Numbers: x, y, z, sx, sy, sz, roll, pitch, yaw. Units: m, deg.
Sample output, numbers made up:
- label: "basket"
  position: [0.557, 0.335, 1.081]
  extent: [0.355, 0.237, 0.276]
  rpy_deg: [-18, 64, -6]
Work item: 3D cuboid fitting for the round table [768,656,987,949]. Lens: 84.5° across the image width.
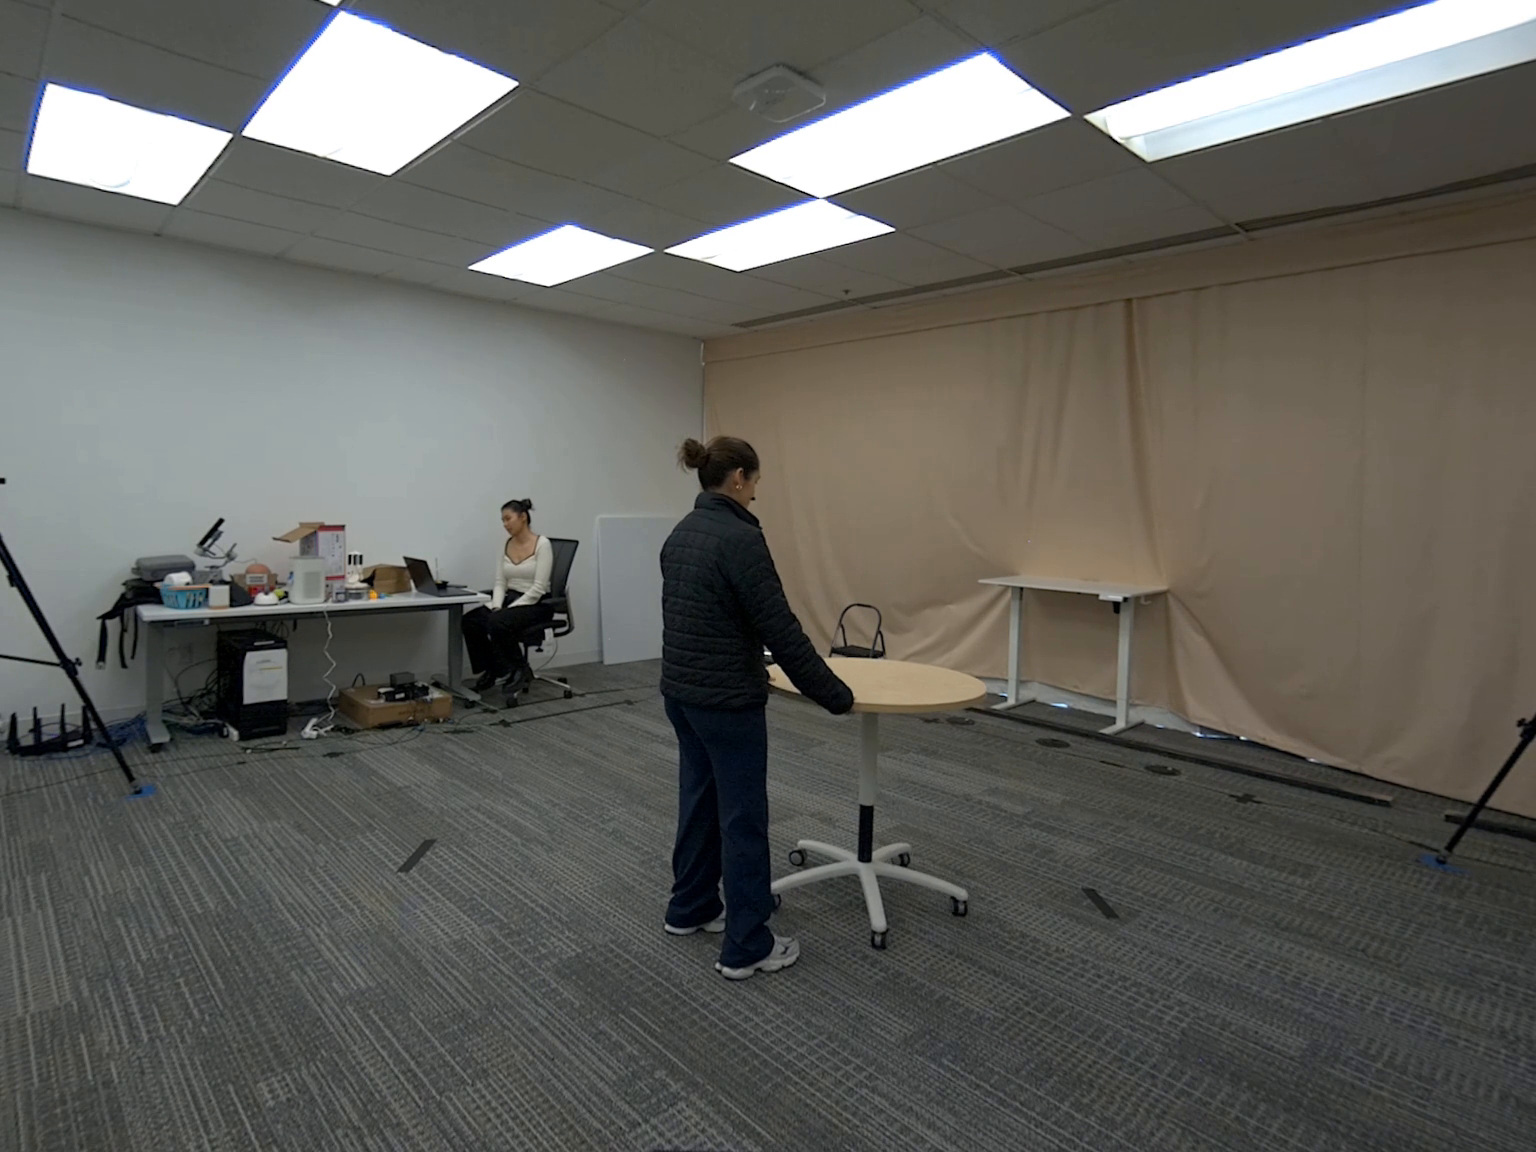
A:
- label: "round table"
  position: [0.328, 0.742, 2.918]
  extent: [0.784, 0.784, 0.787]
  rpy_deg: [2, 4, -2]
